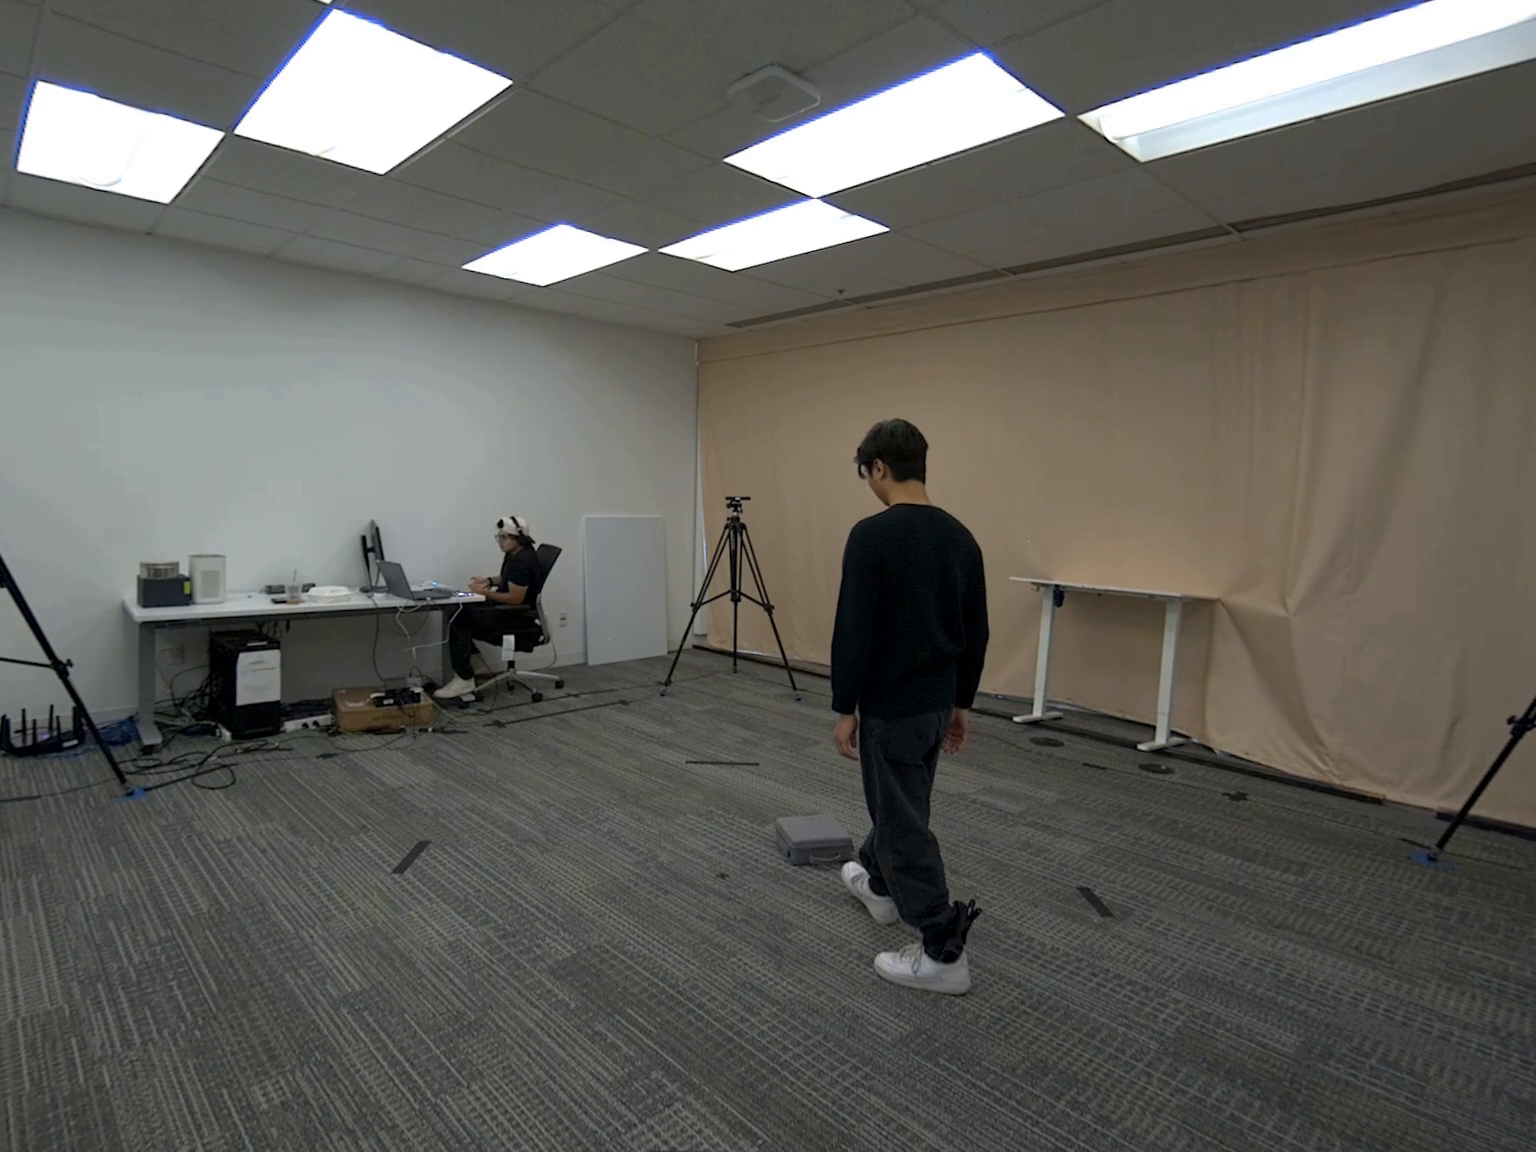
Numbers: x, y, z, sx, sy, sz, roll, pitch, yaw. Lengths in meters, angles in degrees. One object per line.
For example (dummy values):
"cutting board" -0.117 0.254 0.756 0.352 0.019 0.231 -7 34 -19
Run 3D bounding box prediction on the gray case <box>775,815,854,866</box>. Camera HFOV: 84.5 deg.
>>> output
"gray case" 0.172 1.037 3.330 0.254 0.104 0.264 1 6 -15
